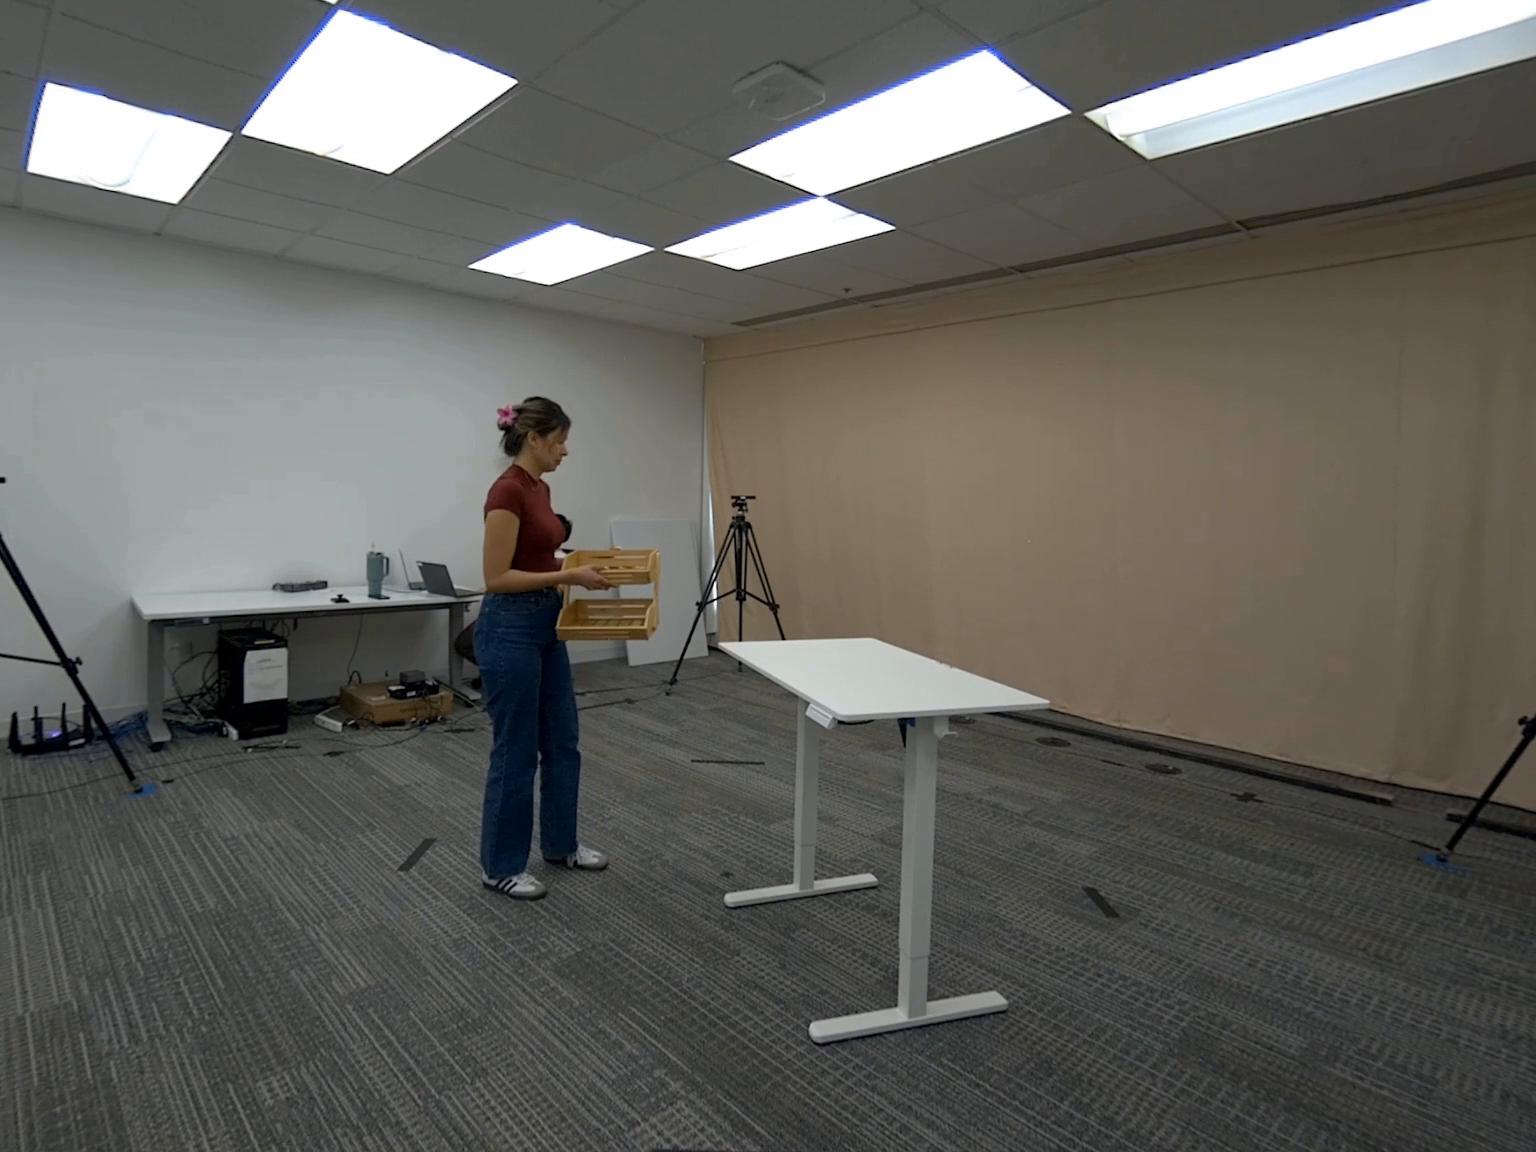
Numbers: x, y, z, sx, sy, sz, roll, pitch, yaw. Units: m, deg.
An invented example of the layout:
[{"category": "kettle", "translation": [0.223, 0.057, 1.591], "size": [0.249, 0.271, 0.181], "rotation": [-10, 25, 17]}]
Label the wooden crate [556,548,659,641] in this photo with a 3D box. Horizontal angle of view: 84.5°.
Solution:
[{"category": "wooden crate", "translation": [-0.551, 0.059, 2.869], "size": [0.326, 0.271, 0.303], "rotation": [-2, 10, 4]}]
